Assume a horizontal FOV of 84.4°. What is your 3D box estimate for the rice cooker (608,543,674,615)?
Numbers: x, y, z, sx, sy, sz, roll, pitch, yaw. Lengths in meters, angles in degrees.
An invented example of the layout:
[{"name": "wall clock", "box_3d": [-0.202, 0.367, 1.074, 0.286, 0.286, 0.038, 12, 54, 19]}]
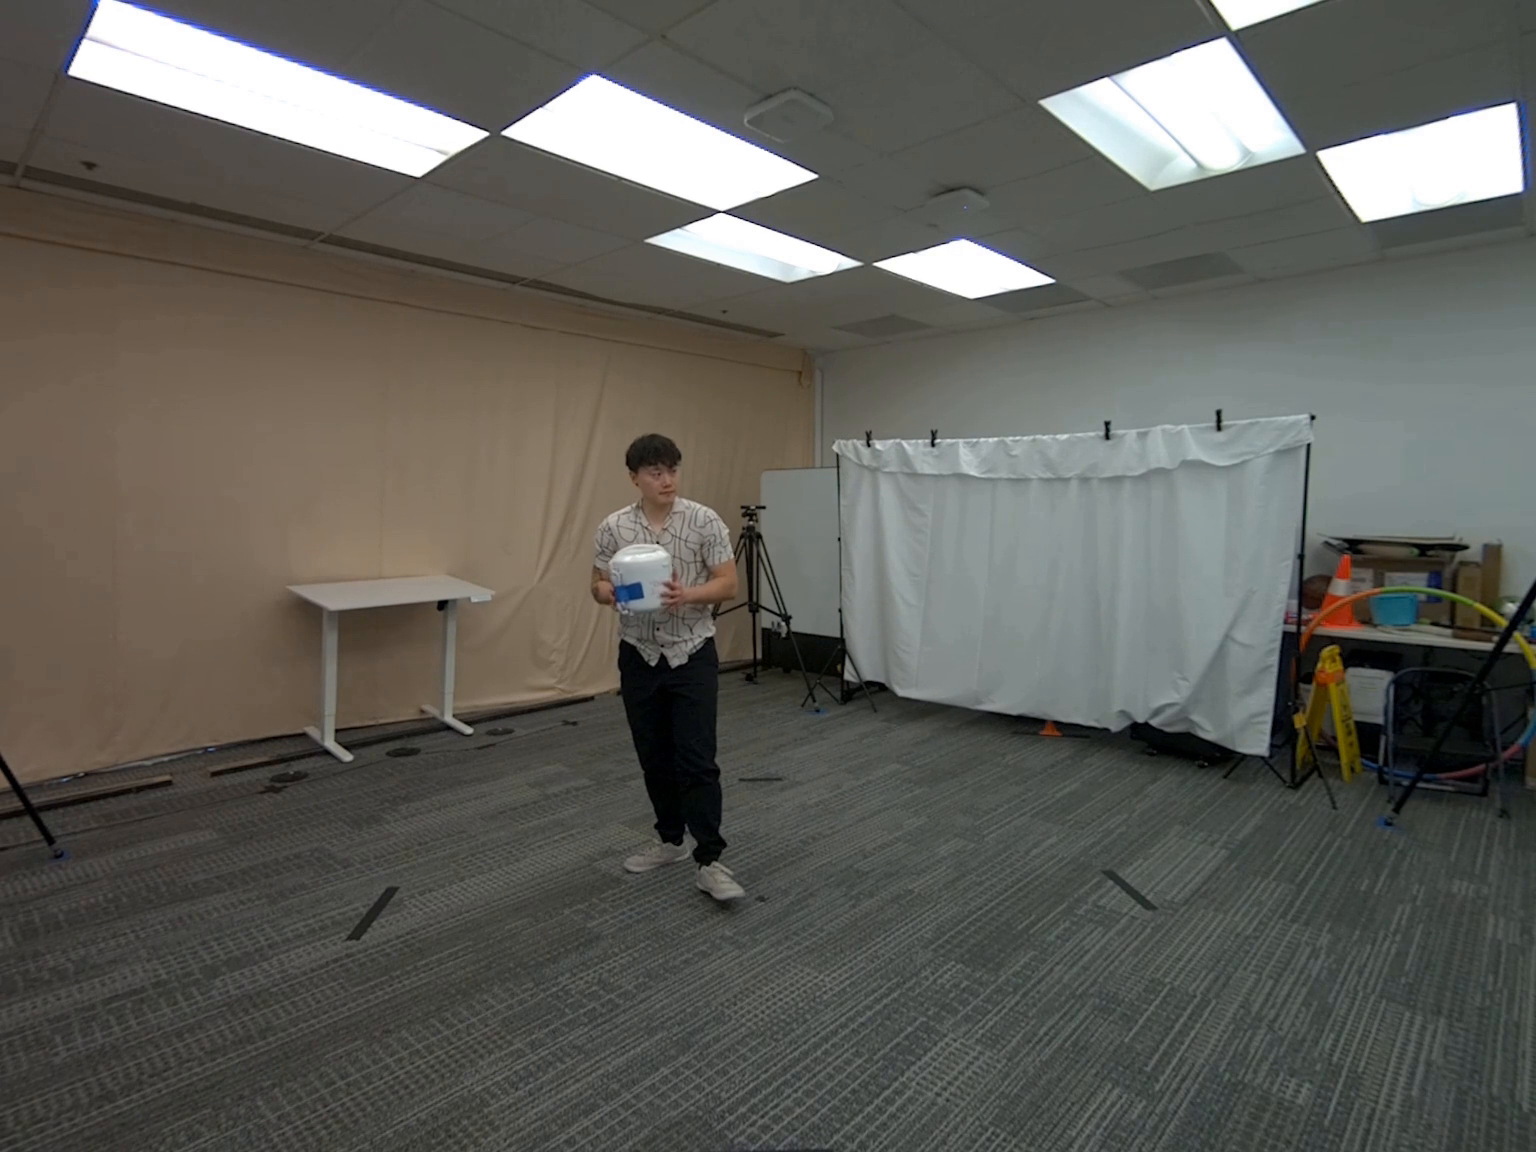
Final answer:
[{"name": "rice cooker", "box_3d": [-0.439, 0.010, 2.928, 0.219, 0.231, 0.220, -5, 9, -7]}]
